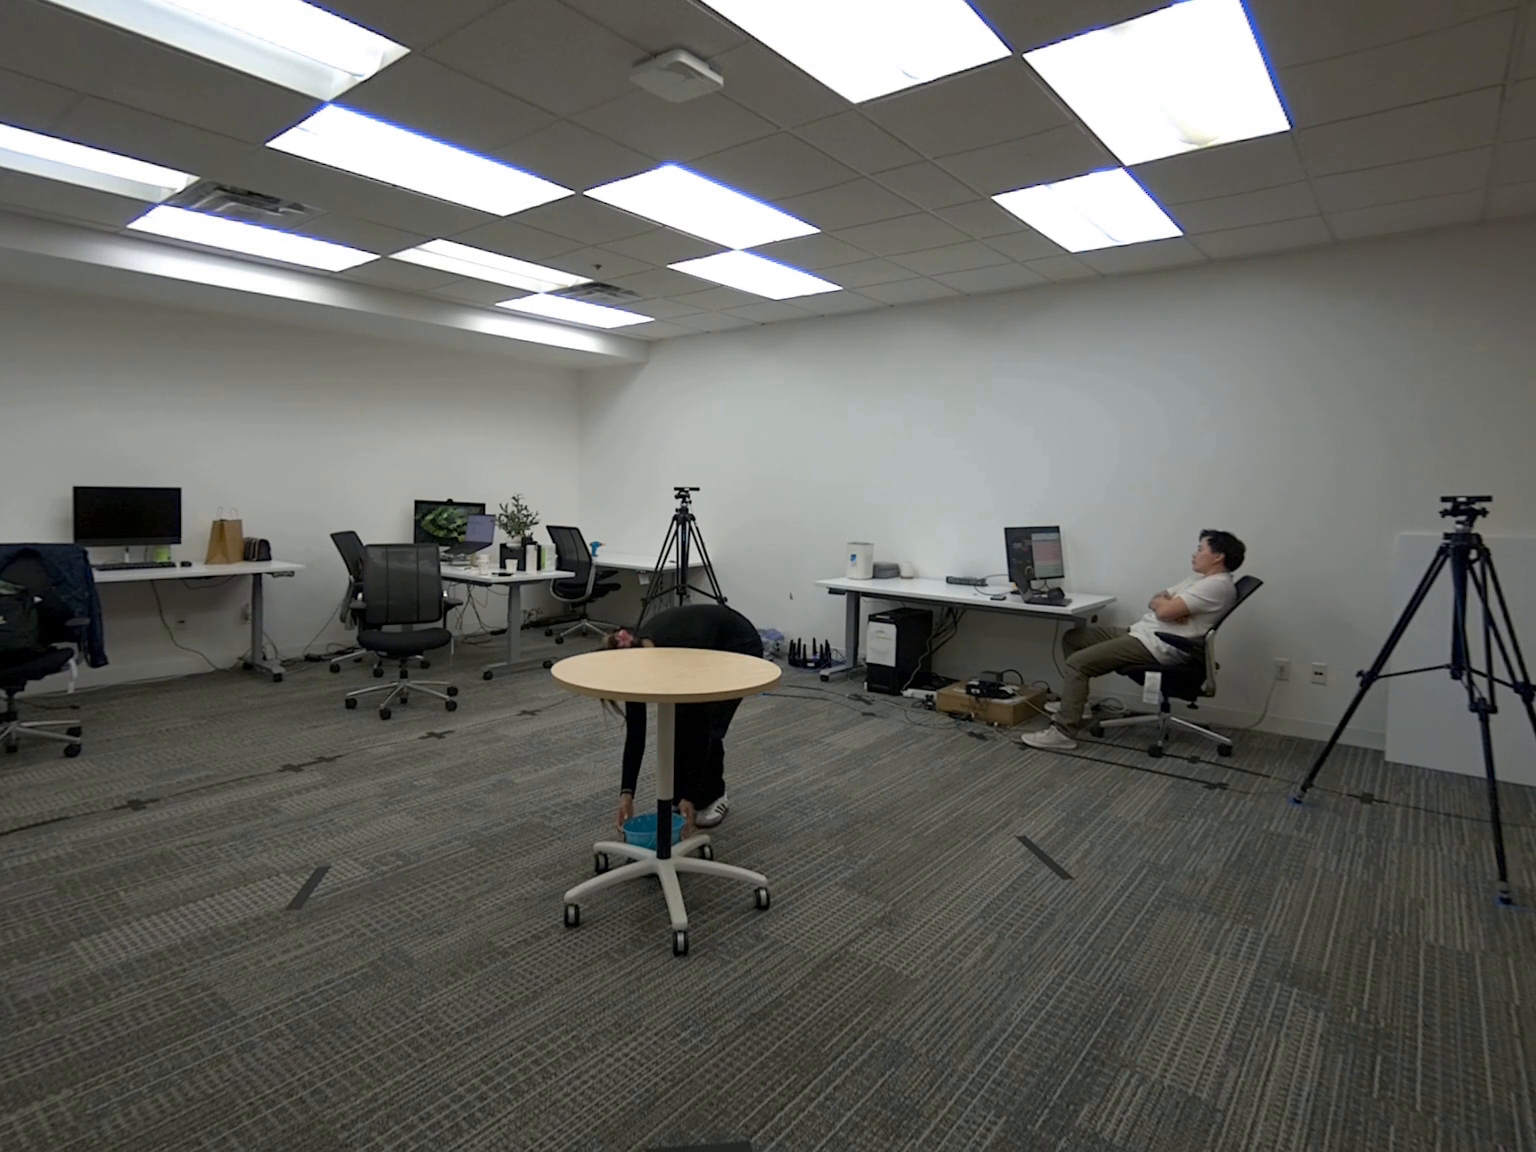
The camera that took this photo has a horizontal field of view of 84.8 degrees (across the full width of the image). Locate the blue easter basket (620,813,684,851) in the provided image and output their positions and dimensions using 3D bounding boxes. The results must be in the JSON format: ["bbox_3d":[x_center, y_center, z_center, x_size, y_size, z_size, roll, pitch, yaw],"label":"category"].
[{"bbox_3d":[-0.433,0.975,3.117,0.243,0.156,0.244,-2,2,-2],"label":"blue easter basket"}]
